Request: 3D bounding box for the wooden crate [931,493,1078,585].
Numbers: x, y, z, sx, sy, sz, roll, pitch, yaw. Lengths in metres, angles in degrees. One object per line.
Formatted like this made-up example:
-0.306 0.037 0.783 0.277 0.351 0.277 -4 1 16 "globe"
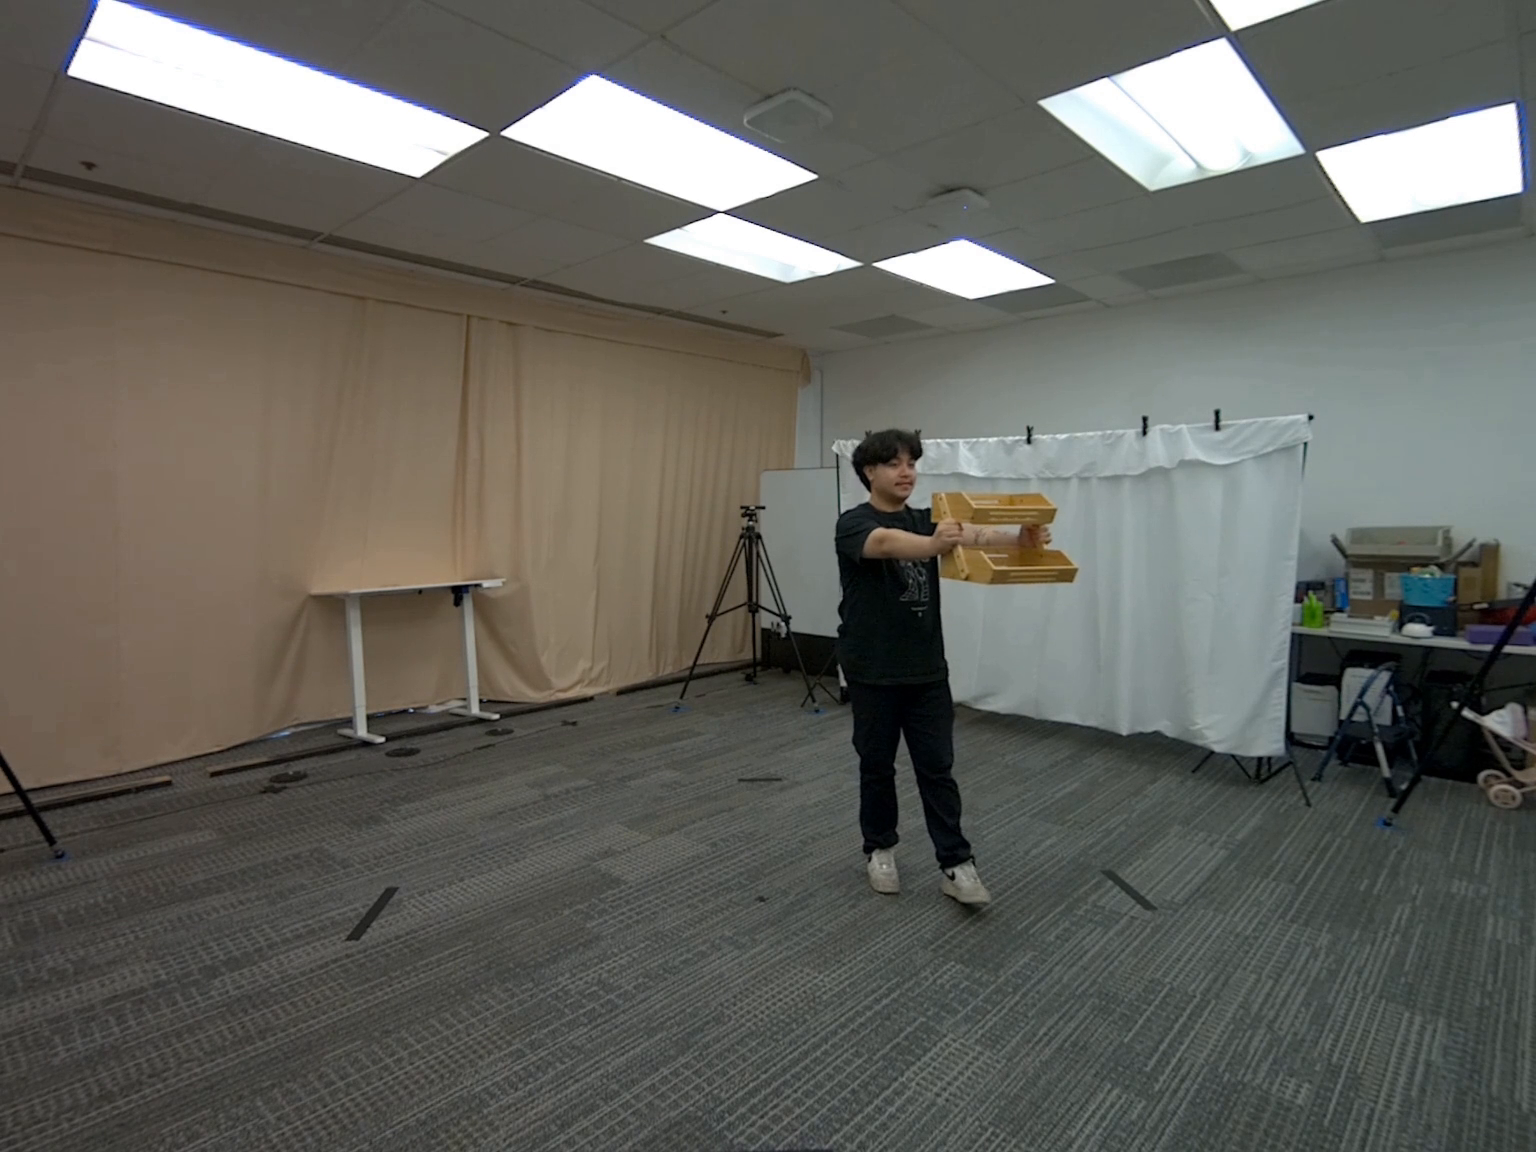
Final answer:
0.715 -0.124 2.528 0.317 0.273 0.309 -2 3 -24 "wooden crate"
